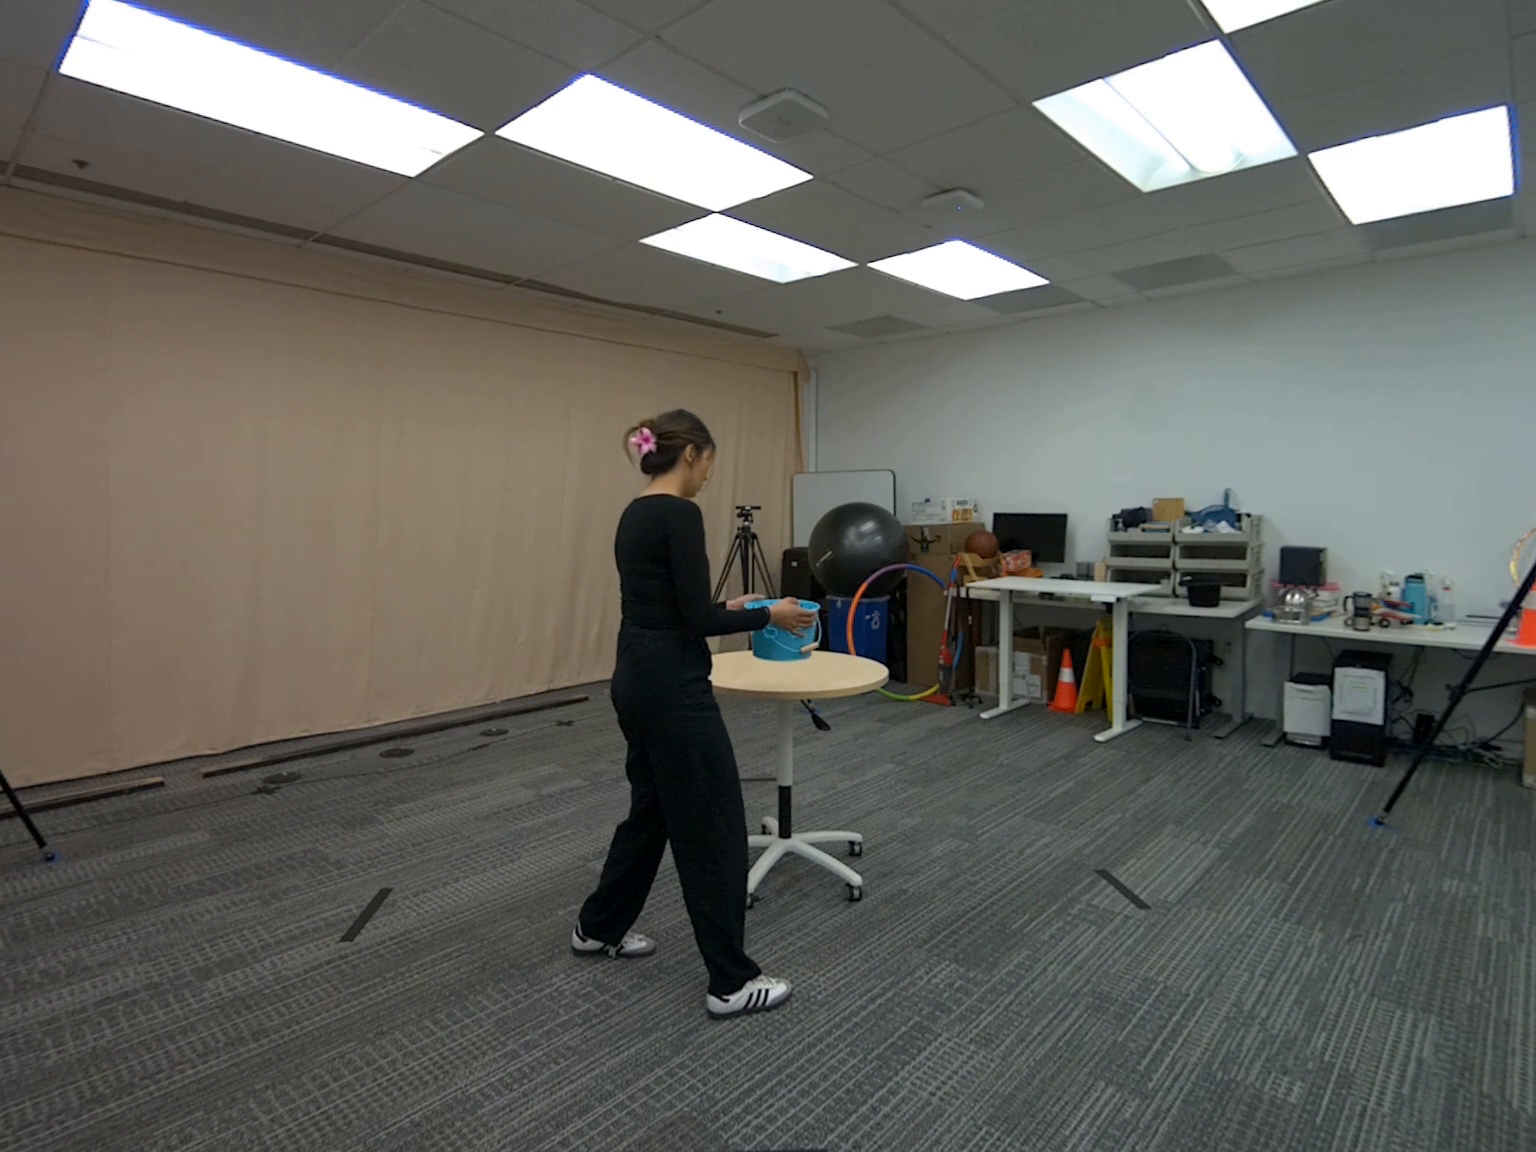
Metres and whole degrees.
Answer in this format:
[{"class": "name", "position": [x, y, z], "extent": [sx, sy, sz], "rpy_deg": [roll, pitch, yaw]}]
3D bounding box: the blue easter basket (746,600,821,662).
[{"class": "blue easter basket", "position": [0.045, 0.178, 2.552], "extent": [0.243, 0.155, 0.245], "rpy_deg": [-1, 8, -2]}]
